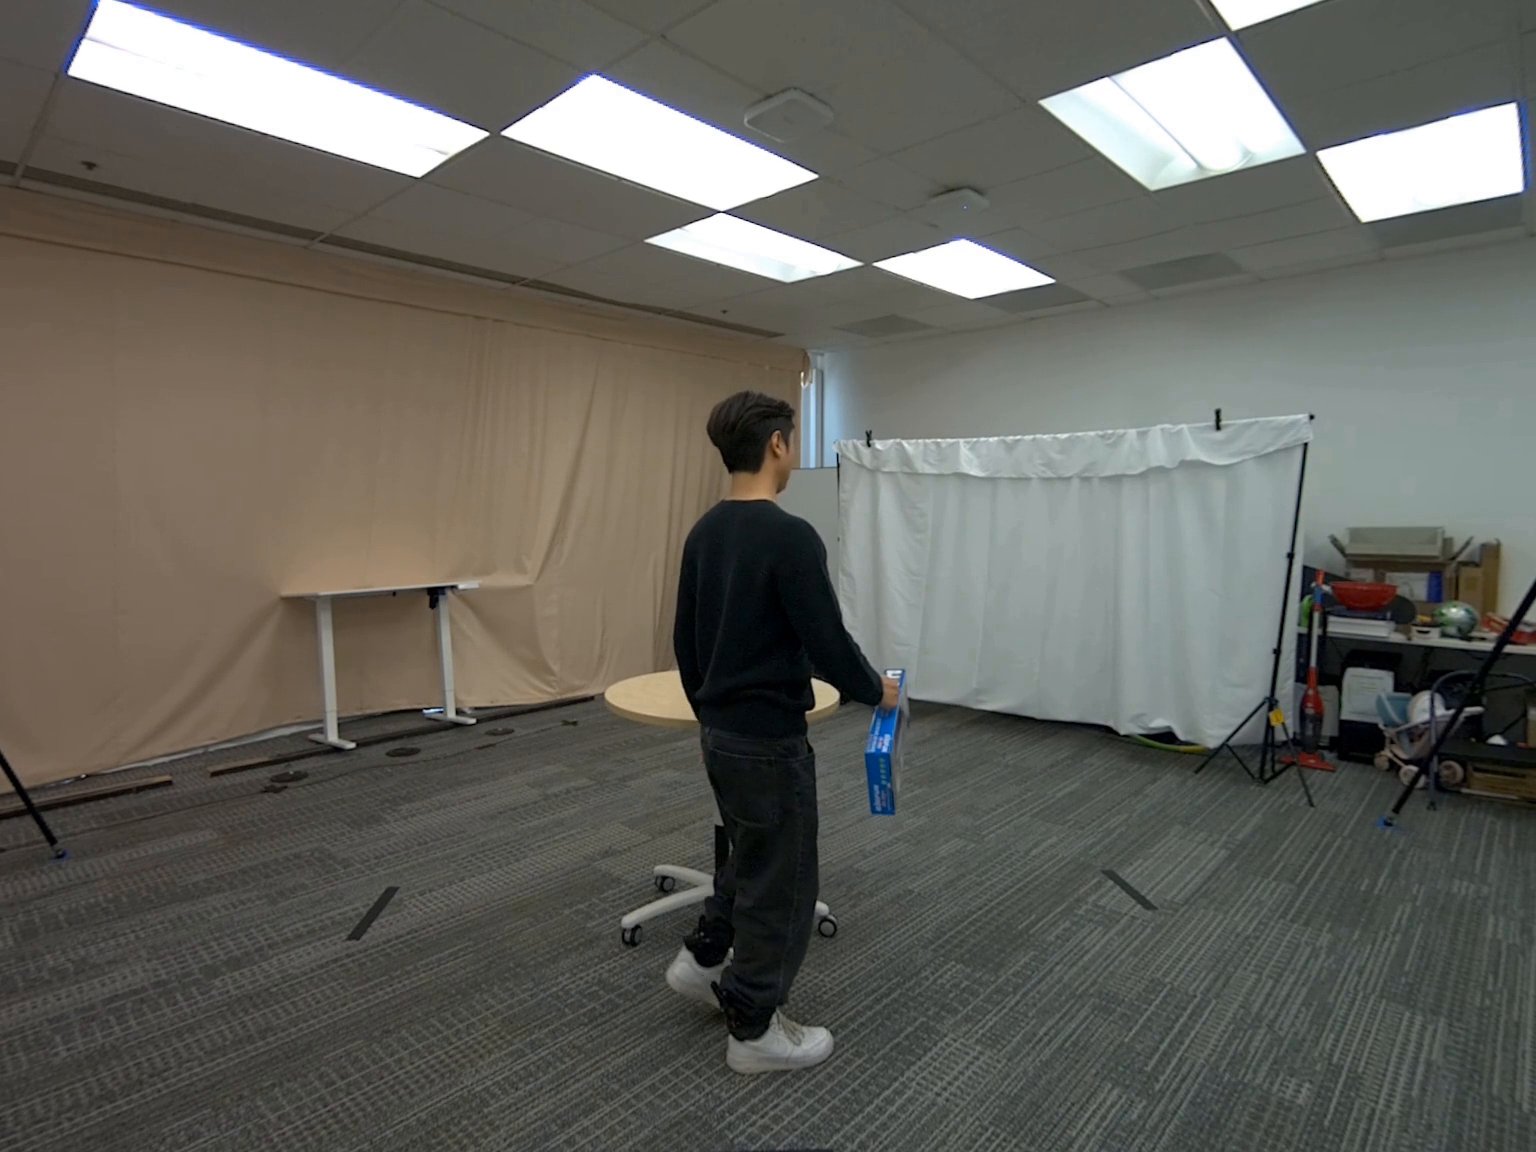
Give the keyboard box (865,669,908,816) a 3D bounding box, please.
[{"bbox_3d":[0.321,0.421,2.186,0.060,0.173,0.435,-3,20,15],"label":"keyboard box"}]
